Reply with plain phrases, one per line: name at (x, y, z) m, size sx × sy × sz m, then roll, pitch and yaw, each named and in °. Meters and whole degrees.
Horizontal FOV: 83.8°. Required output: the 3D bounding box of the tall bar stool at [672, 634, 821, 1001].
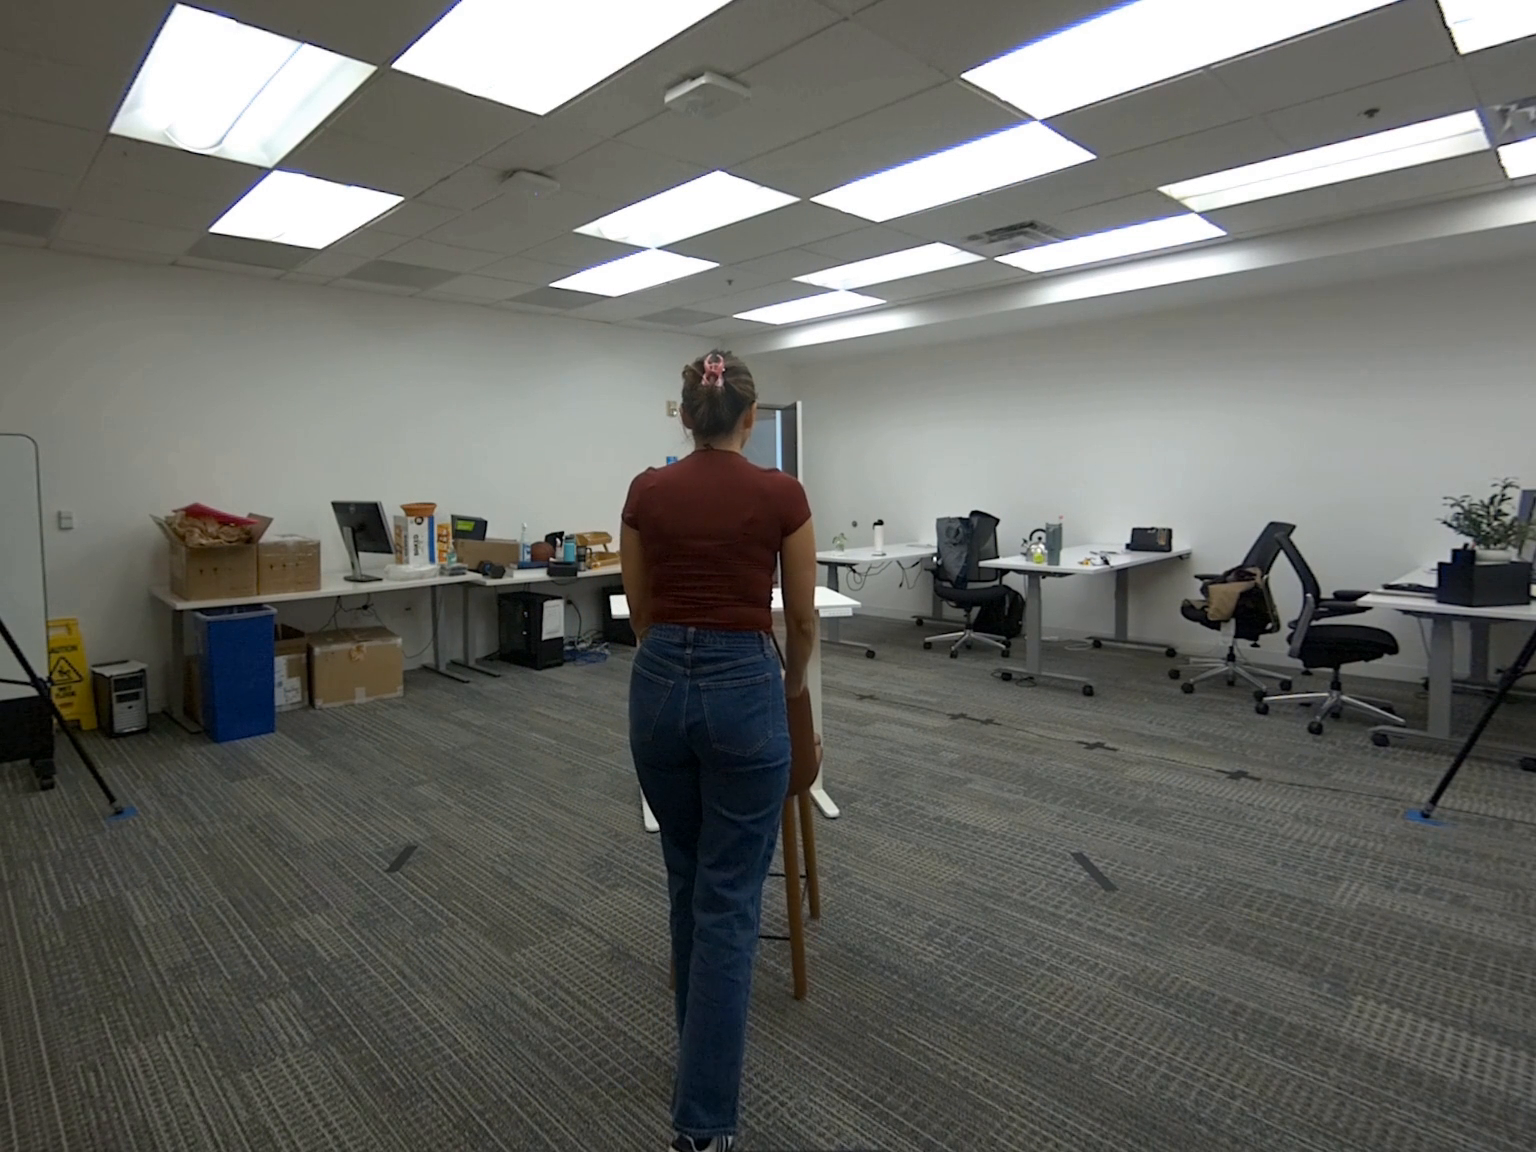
tall bar stool at (-0.065, 0.677, 2.507) m, size 0.461 × 0.885 × 0.466 m, roll 0°, pitch 6°, yaw 8°
